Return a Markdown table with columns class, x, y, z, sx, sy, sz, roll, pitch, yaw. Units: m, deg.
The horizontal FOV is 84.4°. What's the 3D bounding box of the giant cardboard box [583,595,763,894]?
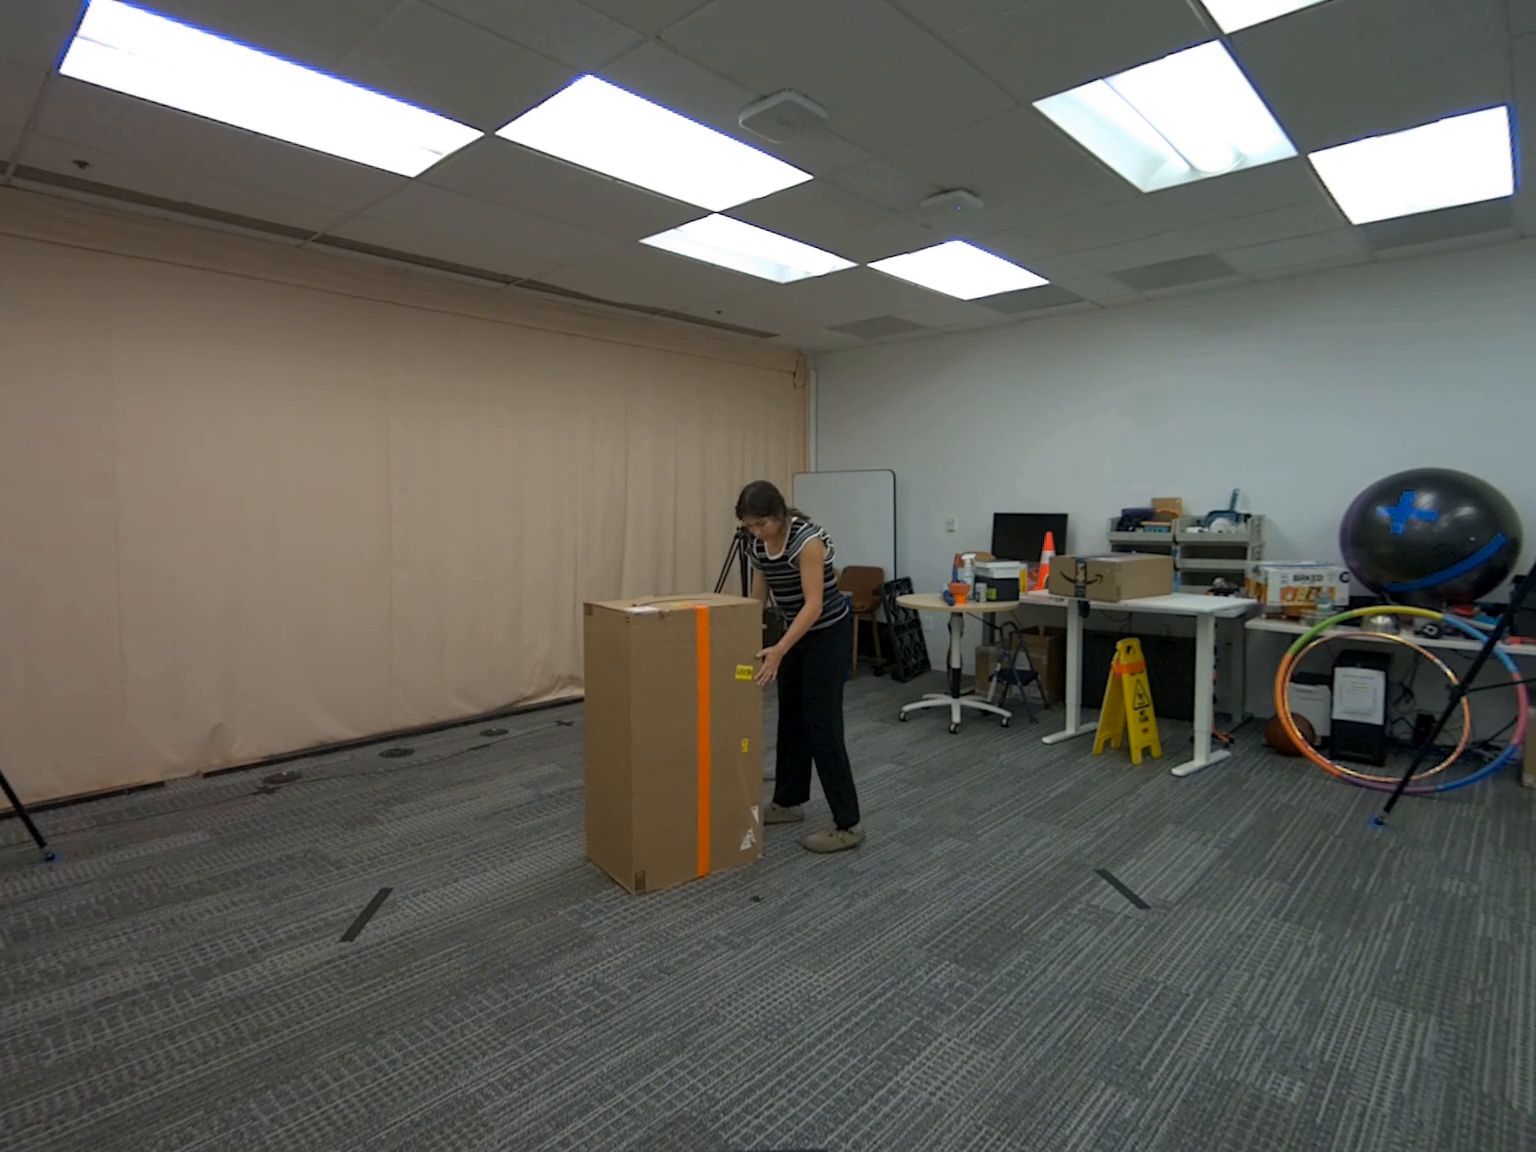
| class | x | y | z | sx | sy | sz | roll | pitch | yaw |
| --- | --- | --- | --- | --- | --- | --- | --- | --- | --- |
| giant cardboard box | -0.376 | 0.612 | 3.304 | 0.561 | 1.024 | 0.439 | -3 | 4 | -35 |
